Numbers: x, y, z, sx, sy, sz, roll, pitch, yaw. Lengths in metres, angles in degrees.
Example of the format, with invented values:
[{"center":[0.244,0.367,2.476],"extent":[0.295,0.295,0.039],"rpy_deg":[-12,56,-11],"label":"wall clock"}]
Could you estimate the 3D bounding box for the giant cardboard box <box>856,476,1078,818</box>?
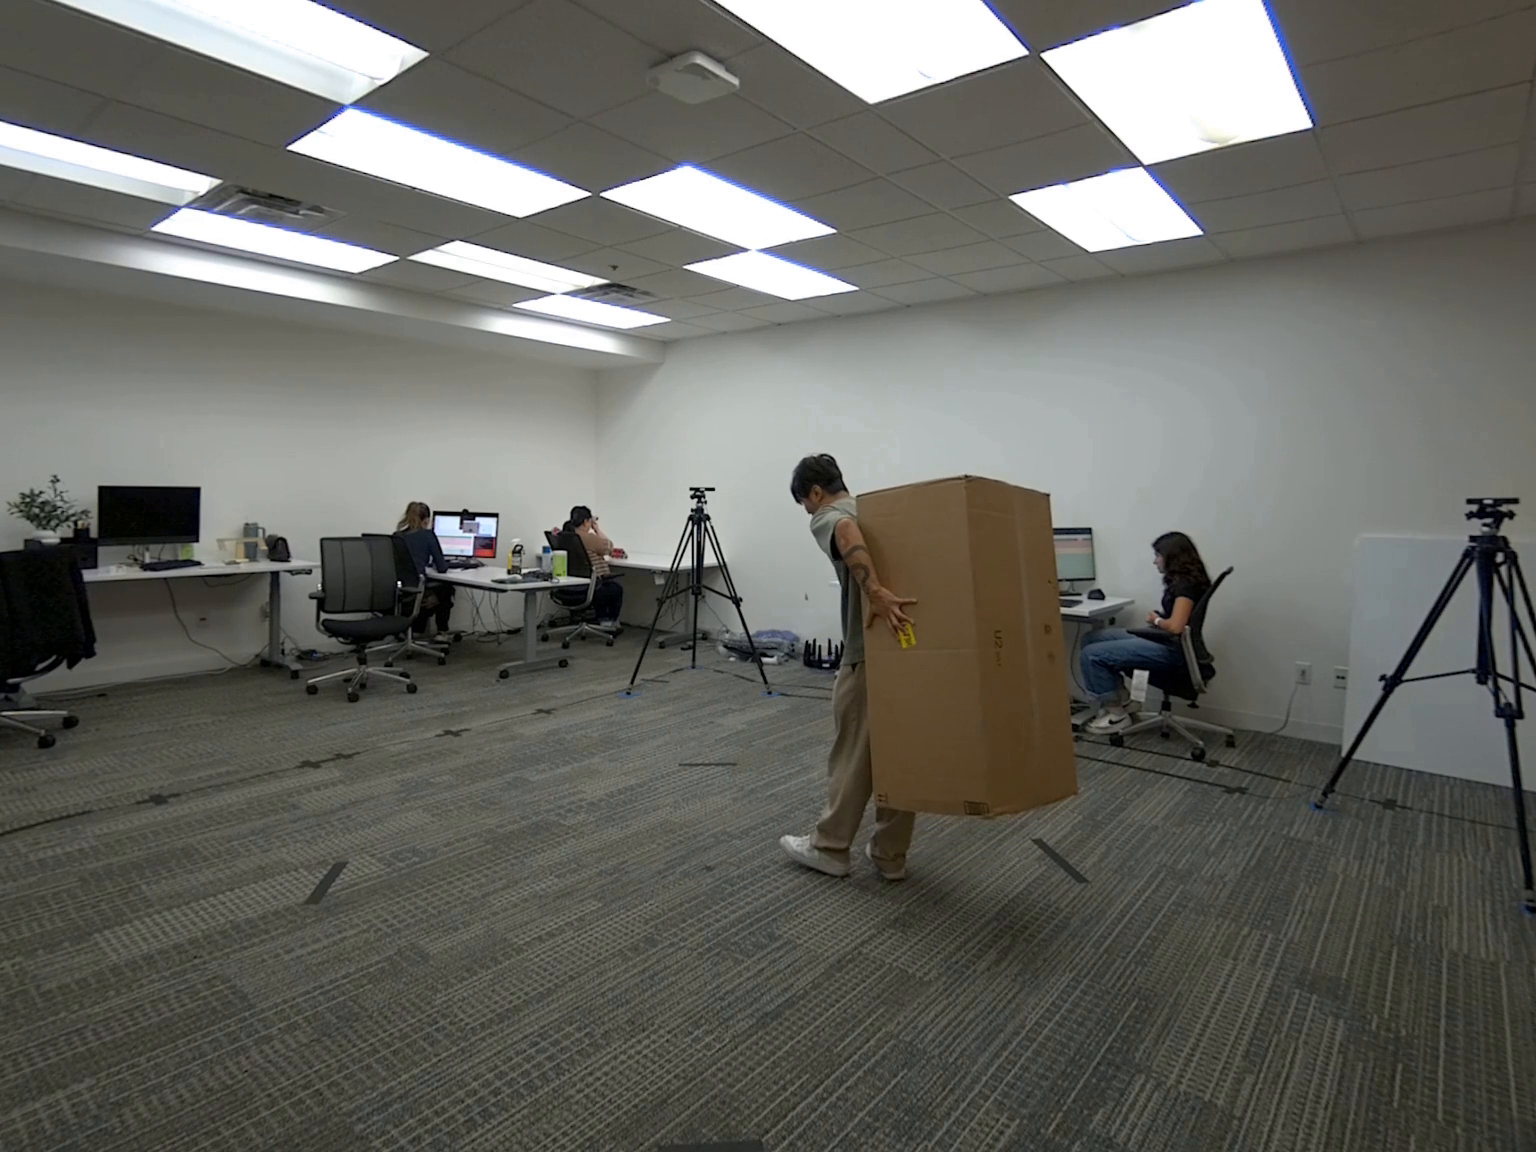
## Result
[{"center":[0.660,0.227,2.855],"extent":[0.558,1.033,0.438],"rpy_deg":[5,-10,-45],"label":"giant cardboard box"}]
